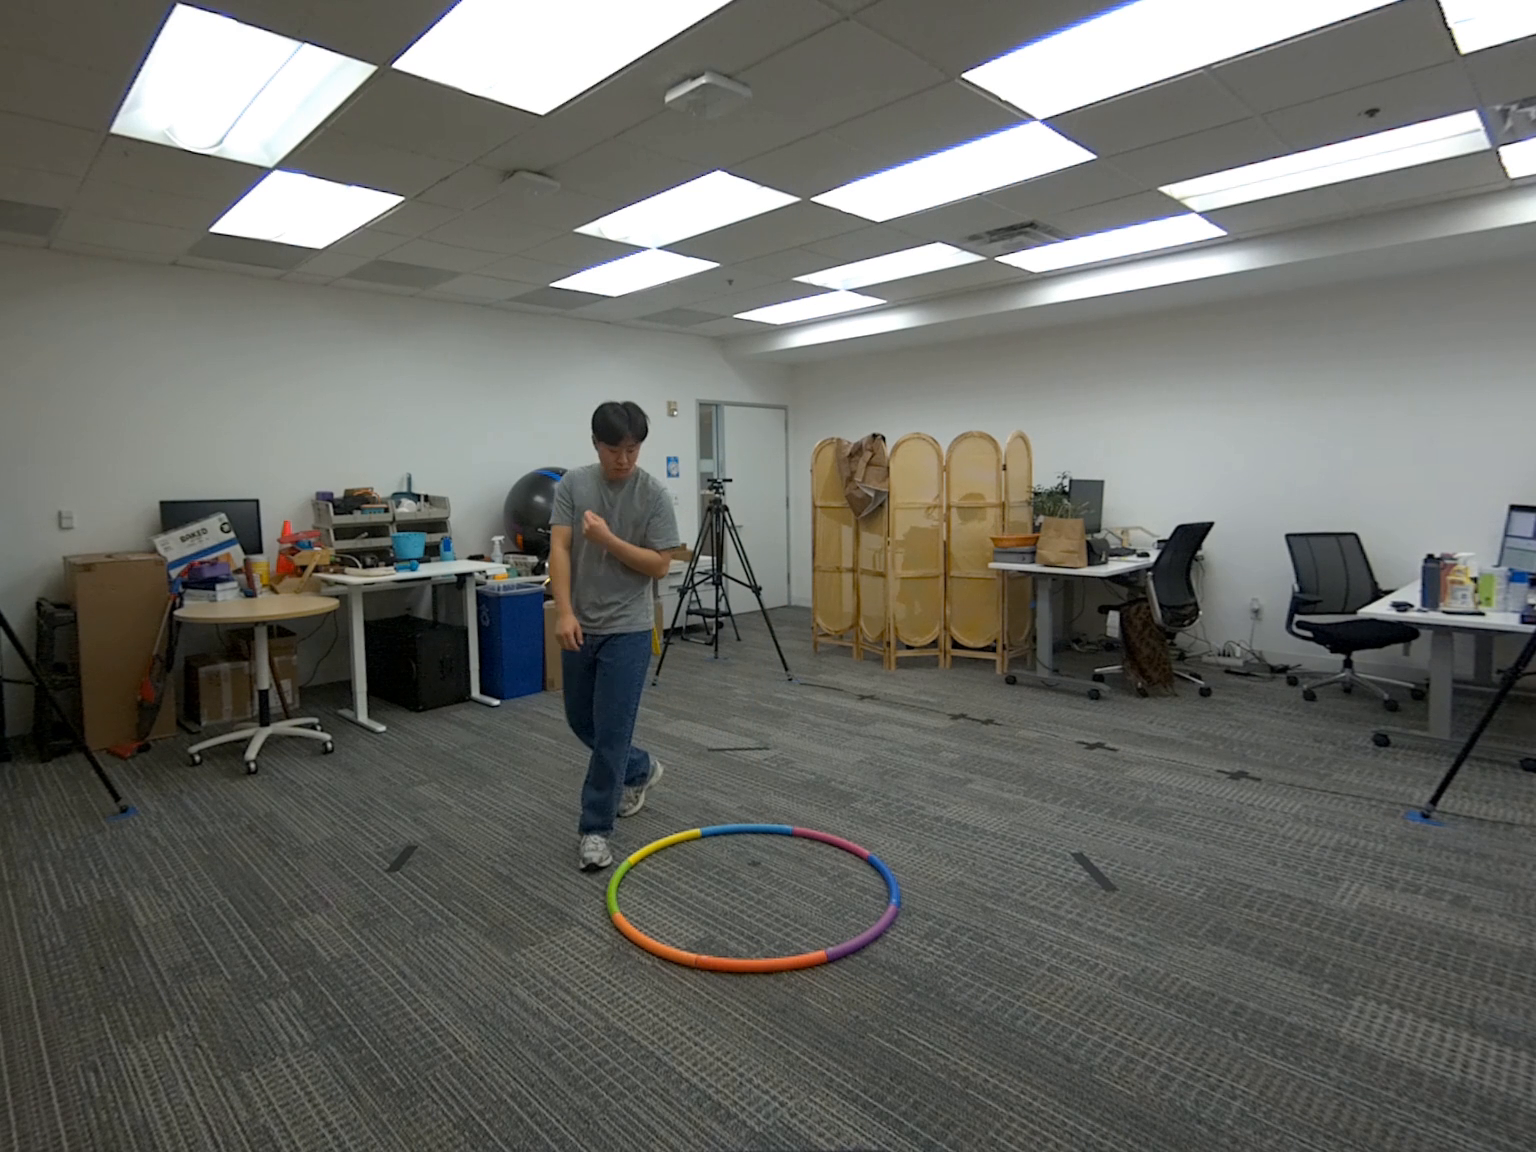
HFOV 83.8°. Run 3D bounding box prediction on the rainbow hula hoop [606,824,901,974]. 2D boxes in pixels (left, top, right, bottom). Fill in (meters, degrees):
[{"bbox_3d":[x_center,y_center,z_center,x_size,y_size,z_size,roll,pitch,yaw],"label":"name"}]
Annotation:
[{"bbox_3d":[-0.058,1.037,2.898,0.978,0.035,0.984,-1,7,-2],"label":"rainbow hula hoop"}]
